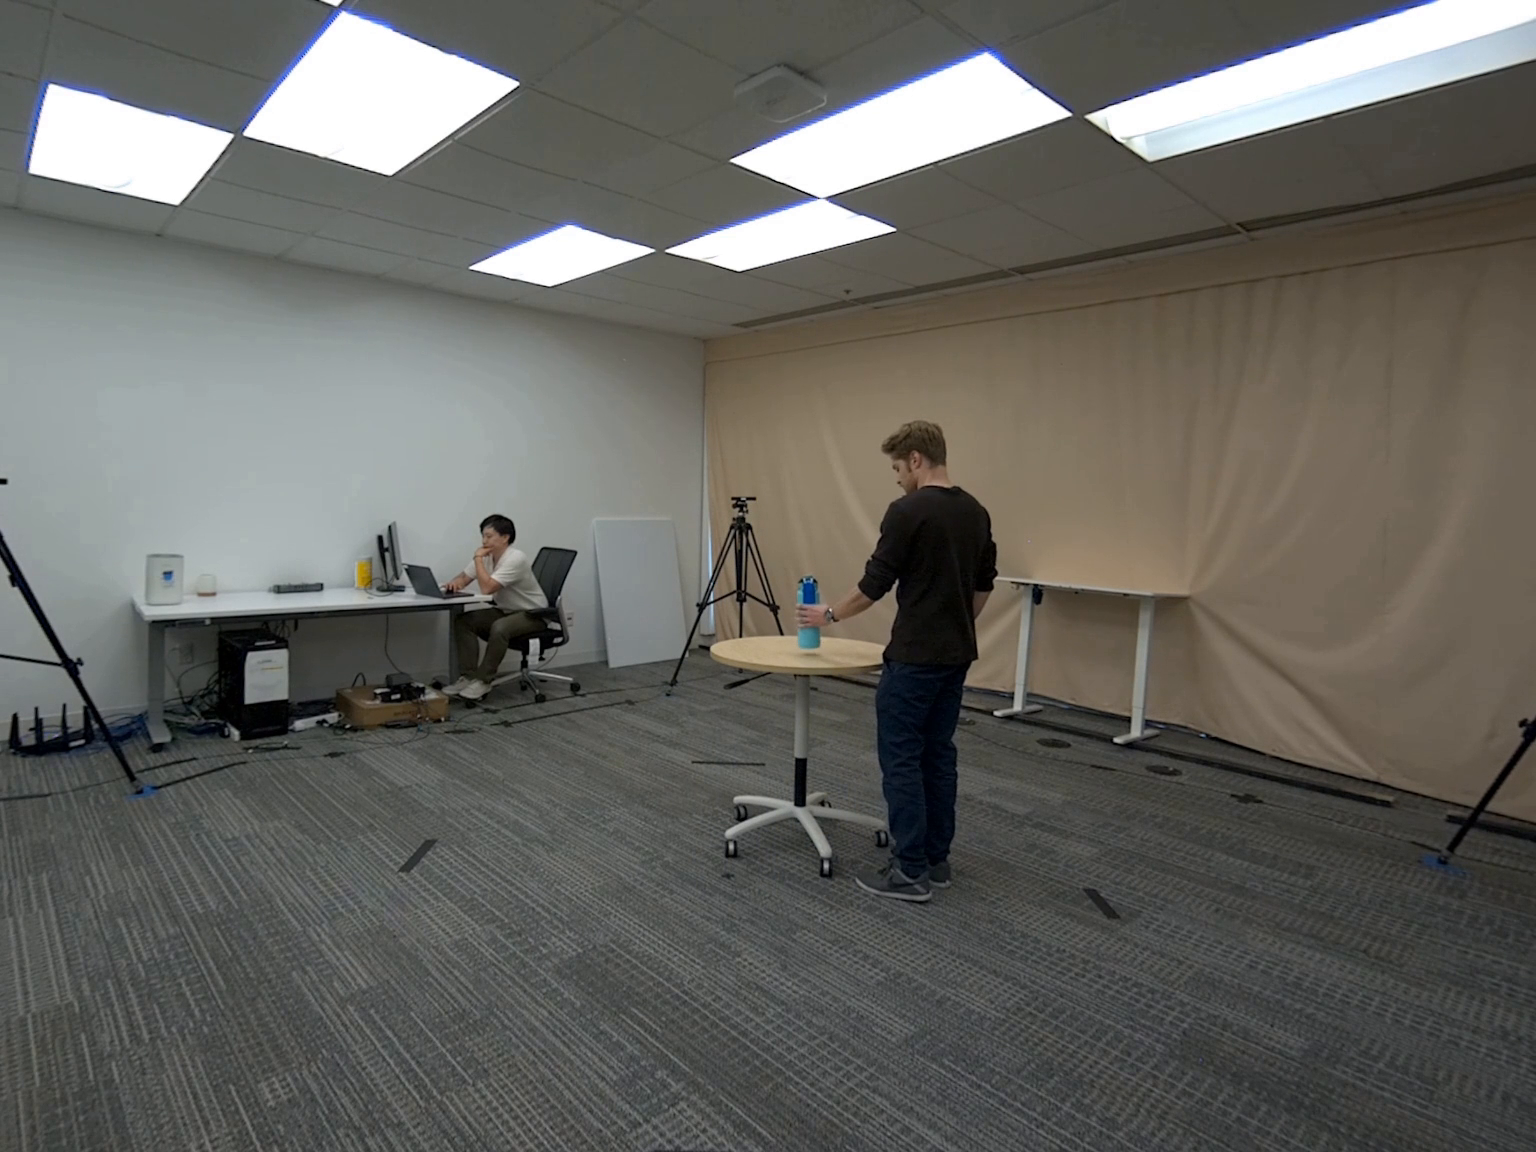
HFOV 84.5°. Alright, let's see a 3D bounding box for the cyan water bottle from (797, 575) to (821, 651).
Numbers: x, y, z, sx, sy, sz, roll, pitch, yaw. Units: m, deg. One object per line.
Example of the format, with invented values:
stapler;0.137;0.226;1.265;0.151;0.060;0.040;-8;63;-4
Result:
cyan water bottle;0.162;0.140;3.313;0.092;0.282;0.093;-2;6;-1
